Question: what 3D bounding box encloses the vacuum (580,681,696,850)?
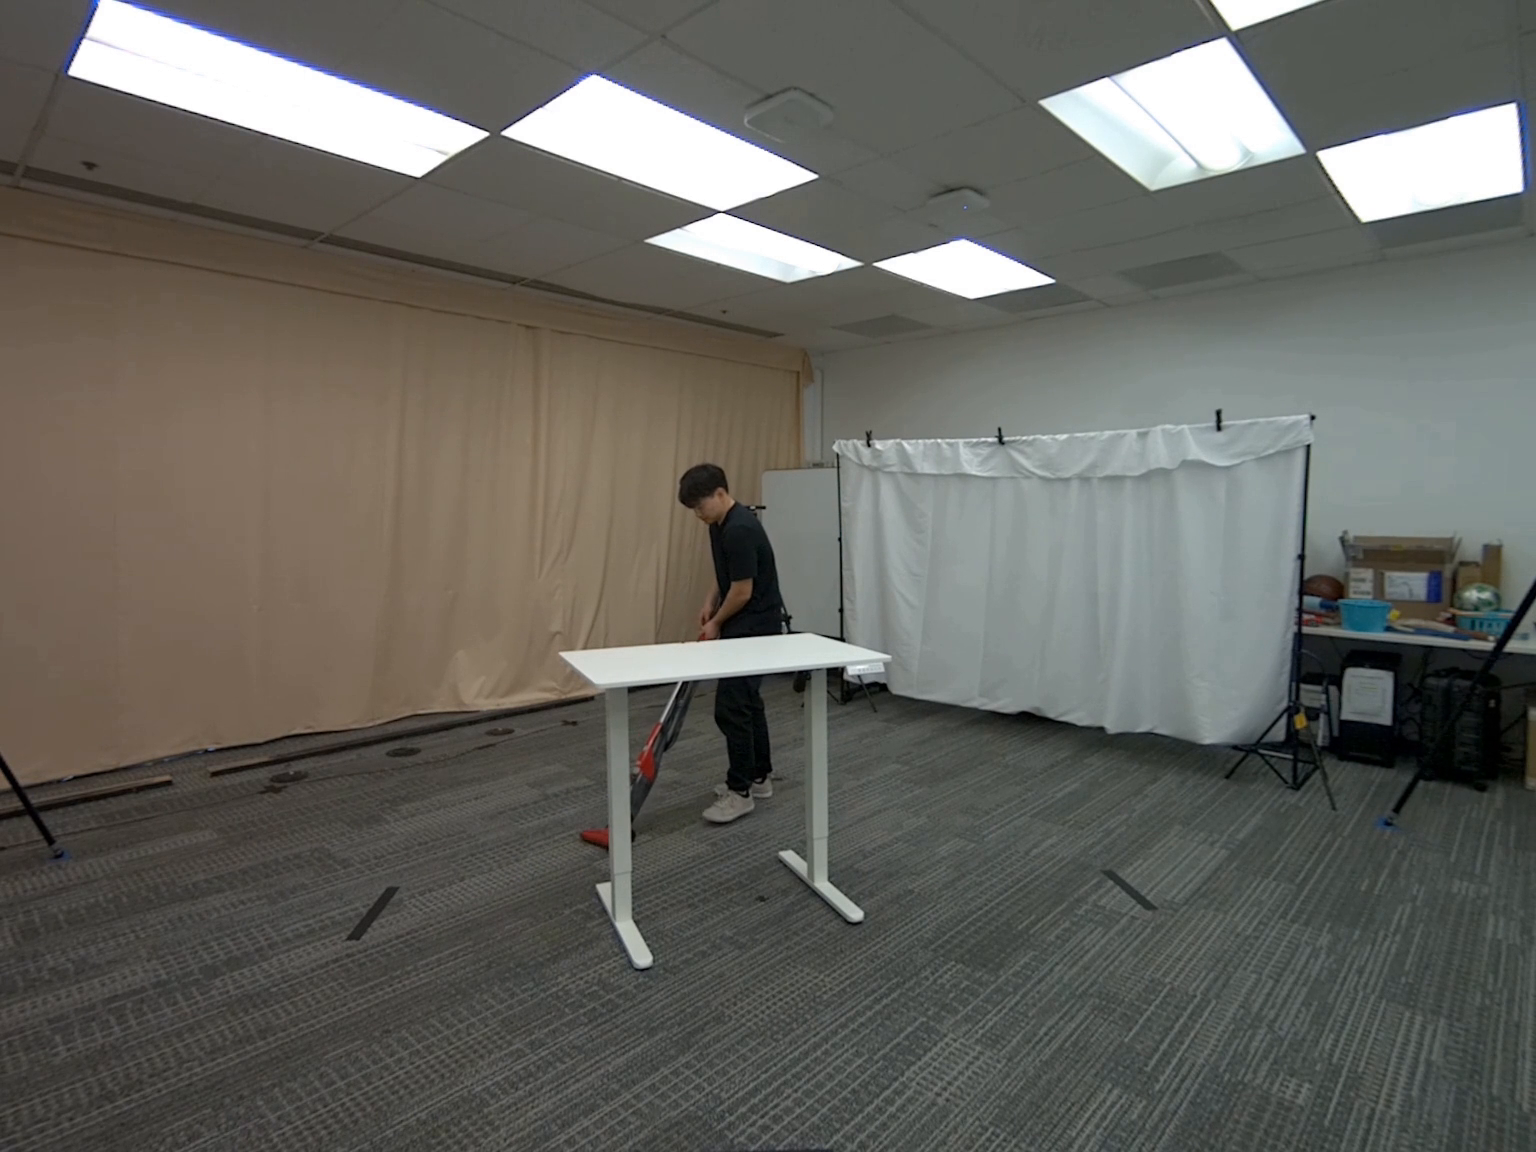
[{"bbox_3d":[-0.465,0.689,3.735,0.260,1.051,0.139,4,-36,33],"label":"vacuum"}]
